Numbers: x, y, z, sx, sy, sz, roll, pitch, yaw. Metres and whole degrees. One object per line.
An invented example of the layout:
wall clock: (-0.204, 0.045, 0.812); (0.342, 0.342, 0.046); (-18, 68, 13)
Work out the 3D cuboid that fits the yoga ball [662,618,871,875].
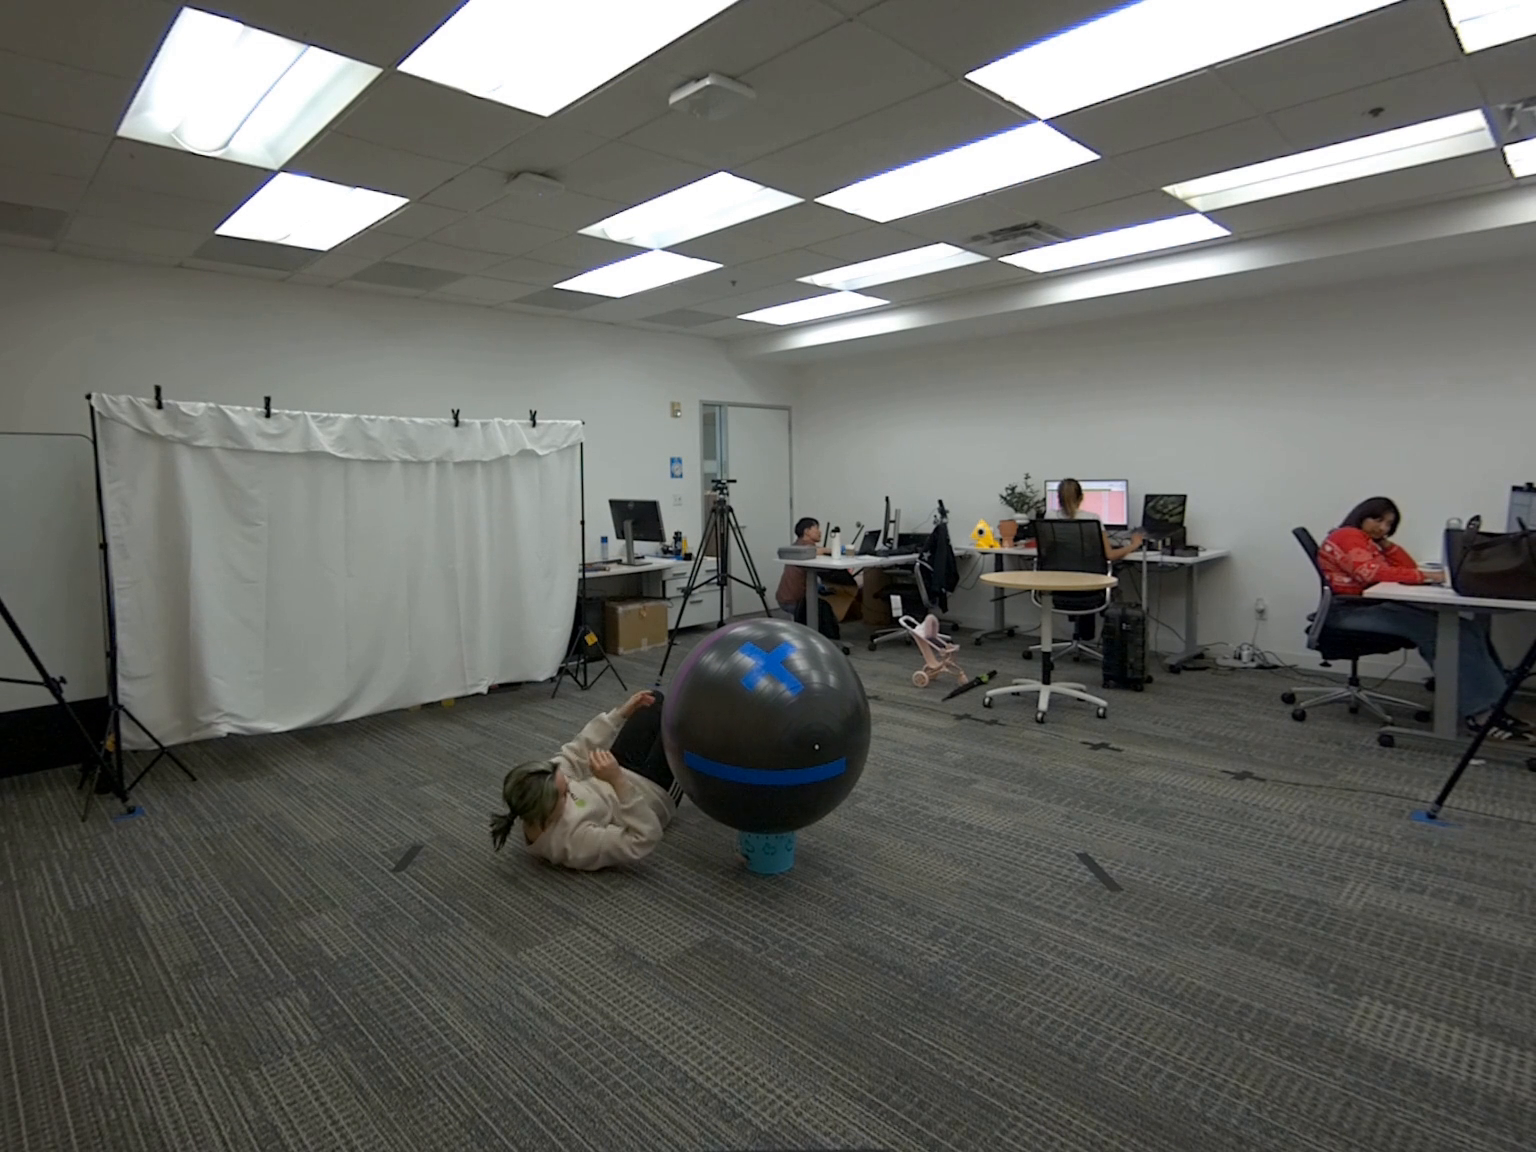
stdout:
yoga ball: (-0.008, 0.534, 3.094); (0.757, 0.755, 0.762); (-1, 5, -2)
